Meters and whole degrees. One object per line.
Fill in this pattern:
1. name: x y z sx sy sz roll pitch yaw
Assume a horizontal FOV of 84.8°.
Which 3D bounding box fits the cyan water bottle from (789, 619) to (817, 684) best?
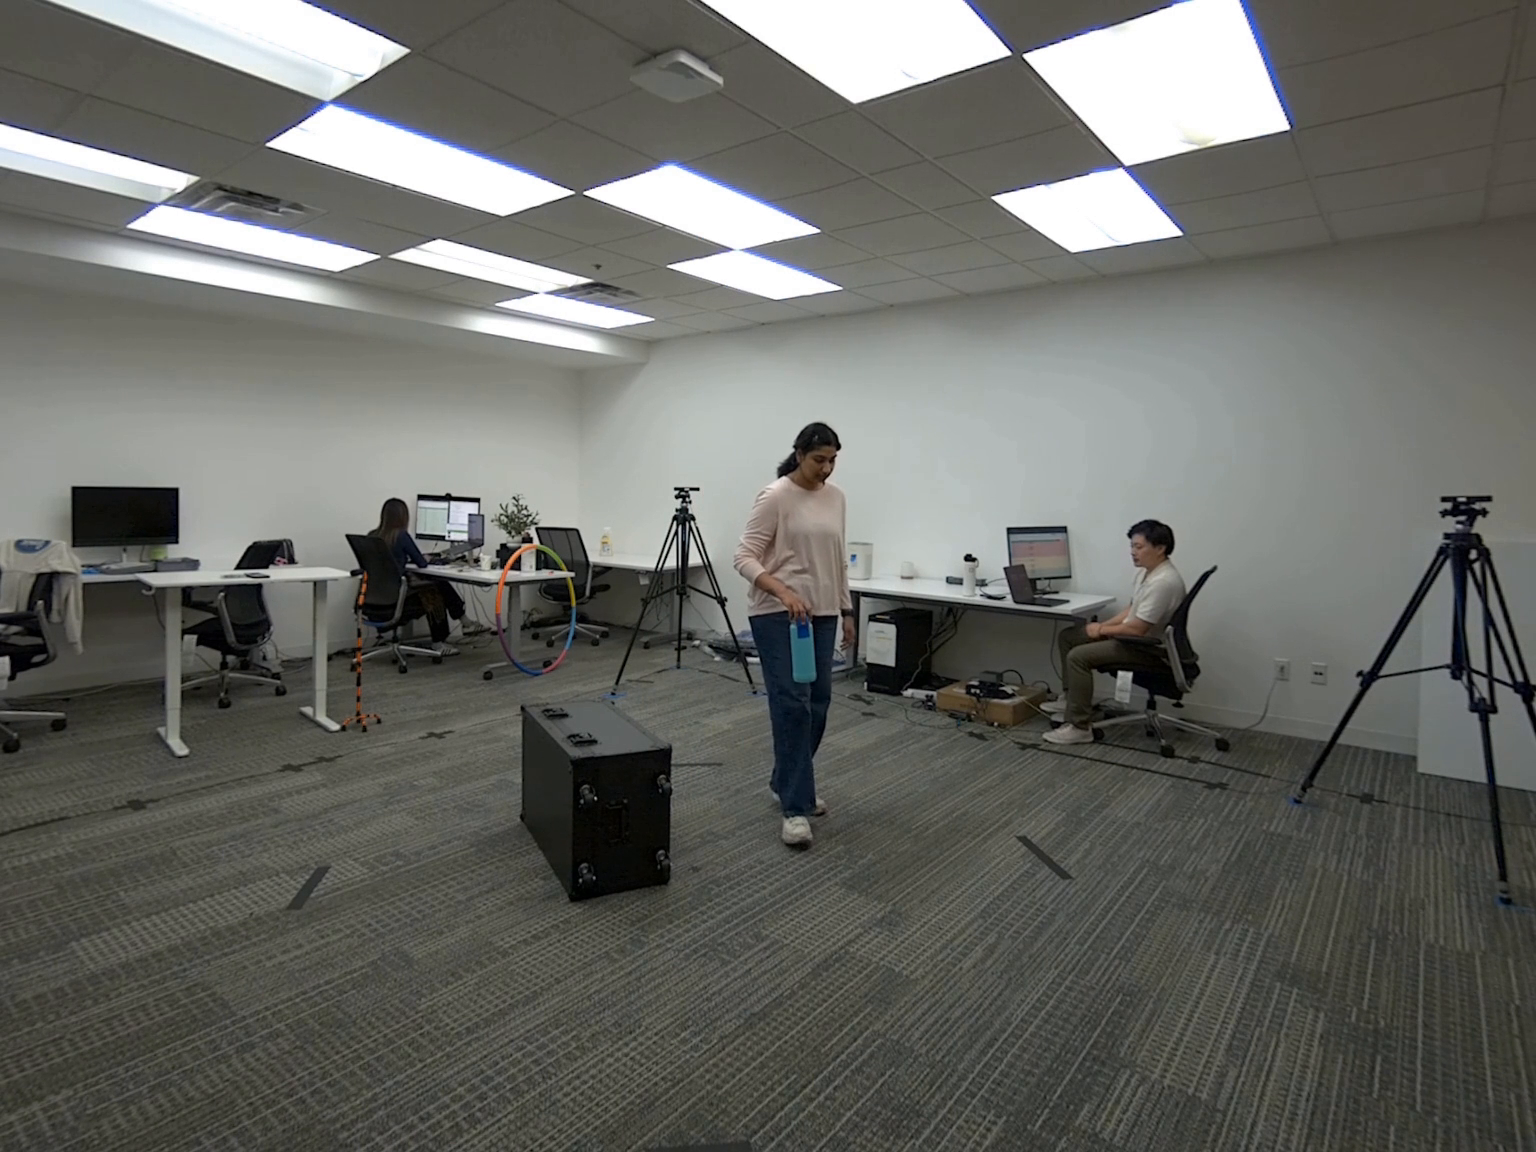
1. cyan water bottle: 0.132 0.267 3.355 0.092 0.282 0.093 -3 4 -2
